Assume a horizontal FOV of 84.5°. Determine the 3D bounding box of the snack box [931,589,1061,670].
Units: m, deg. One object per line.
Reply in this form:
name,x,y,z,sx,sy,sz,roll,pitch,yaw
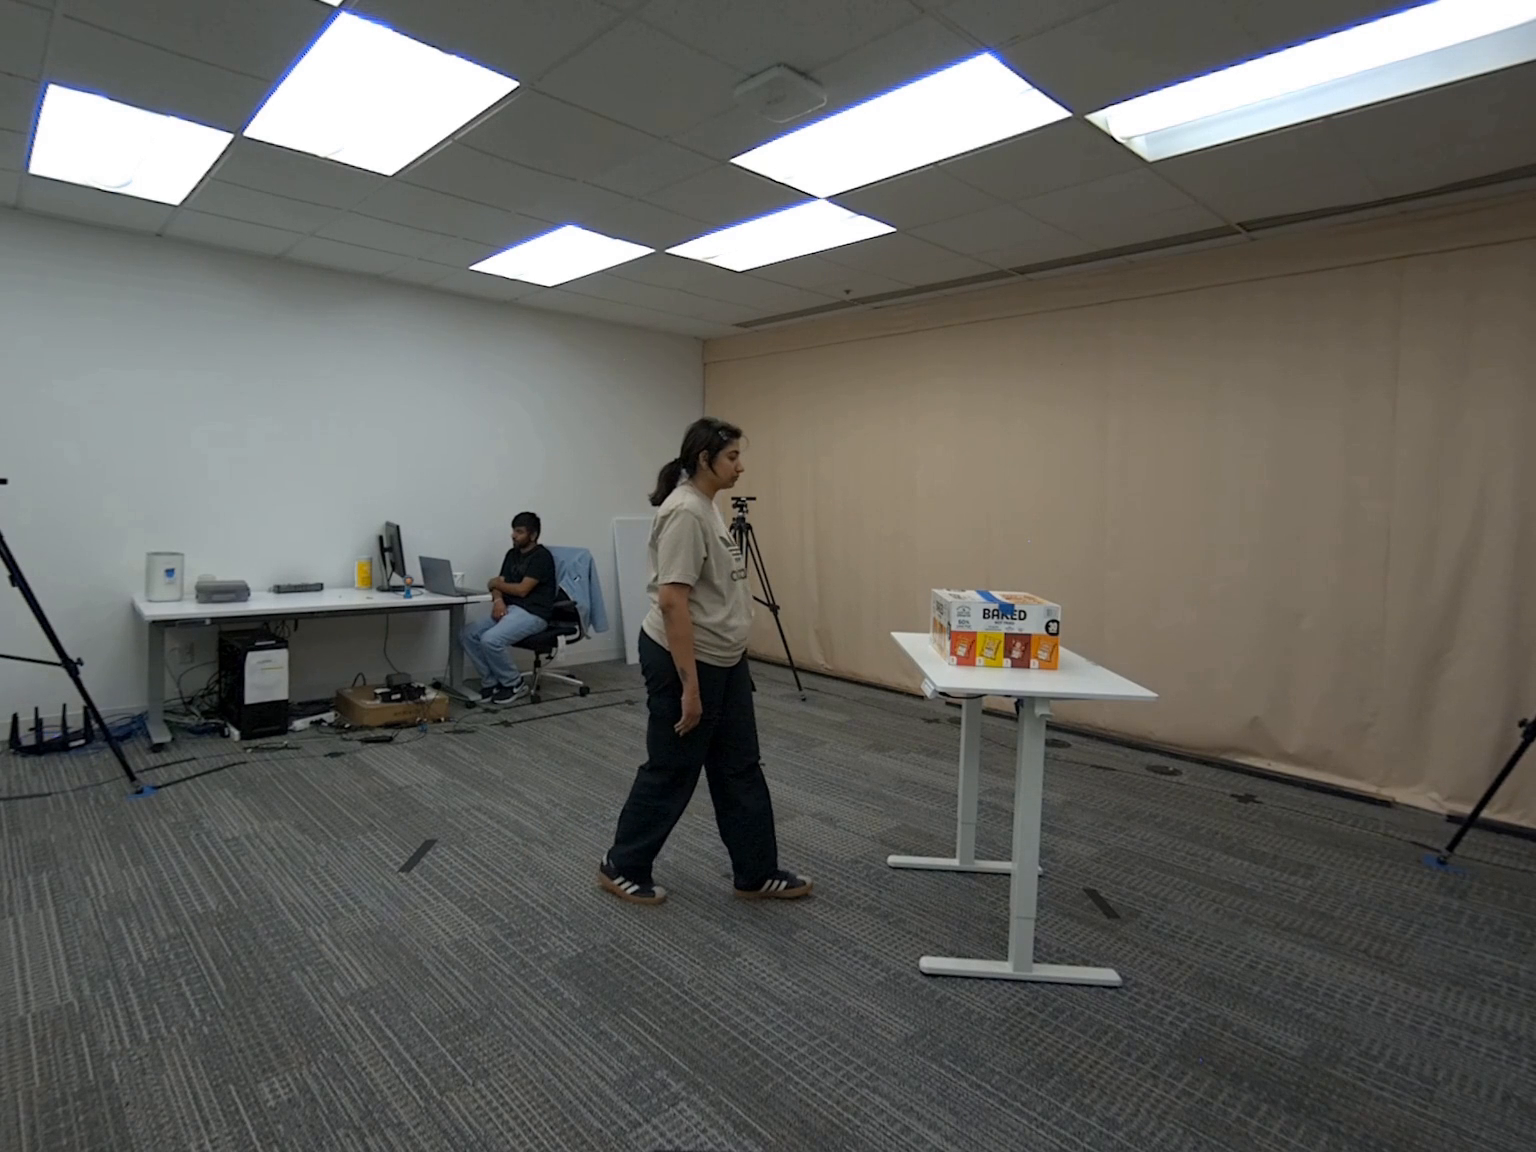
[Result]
snack box,0.742,0.172,2.838,0.341,0.205,0.405,2,4,3
